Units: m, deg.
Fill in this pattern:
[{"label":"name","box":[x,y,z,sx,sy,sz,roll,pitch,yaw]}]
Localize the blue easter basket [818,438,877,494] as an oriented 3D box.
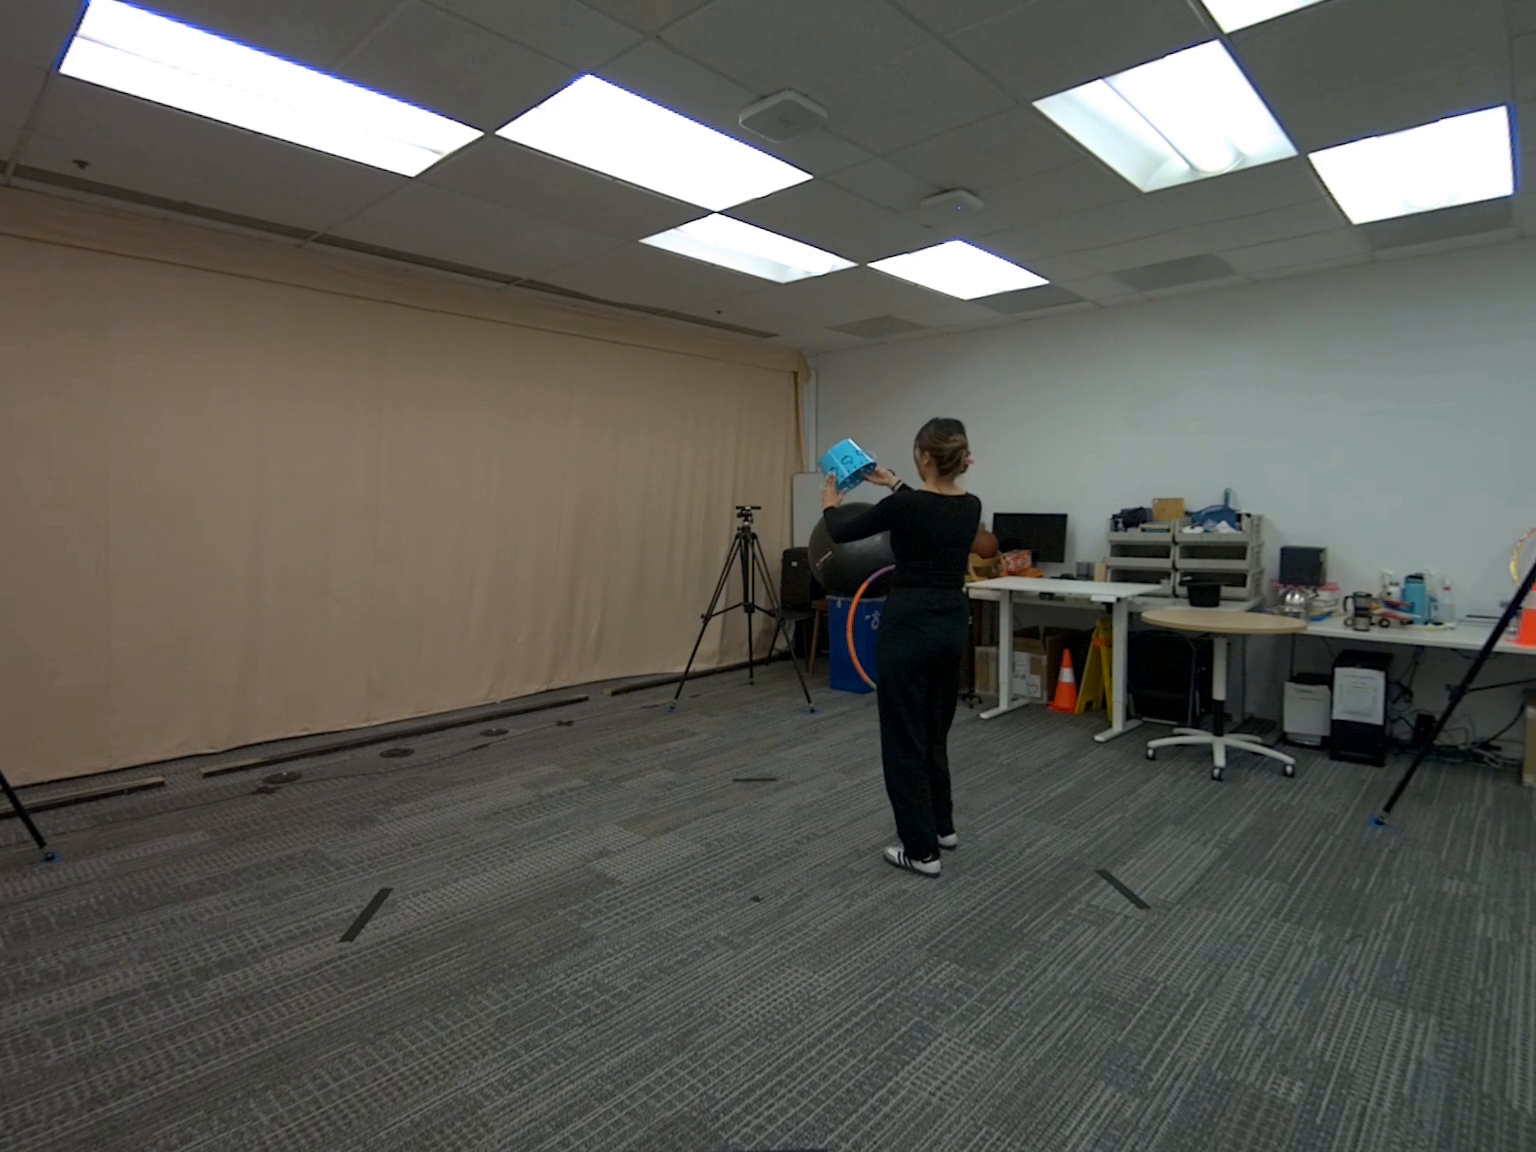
[{"label":"blue easter basket","box":[0.337,-0.475,3.663,0.242,0.158,0.241,-32,-14,-12]}]
